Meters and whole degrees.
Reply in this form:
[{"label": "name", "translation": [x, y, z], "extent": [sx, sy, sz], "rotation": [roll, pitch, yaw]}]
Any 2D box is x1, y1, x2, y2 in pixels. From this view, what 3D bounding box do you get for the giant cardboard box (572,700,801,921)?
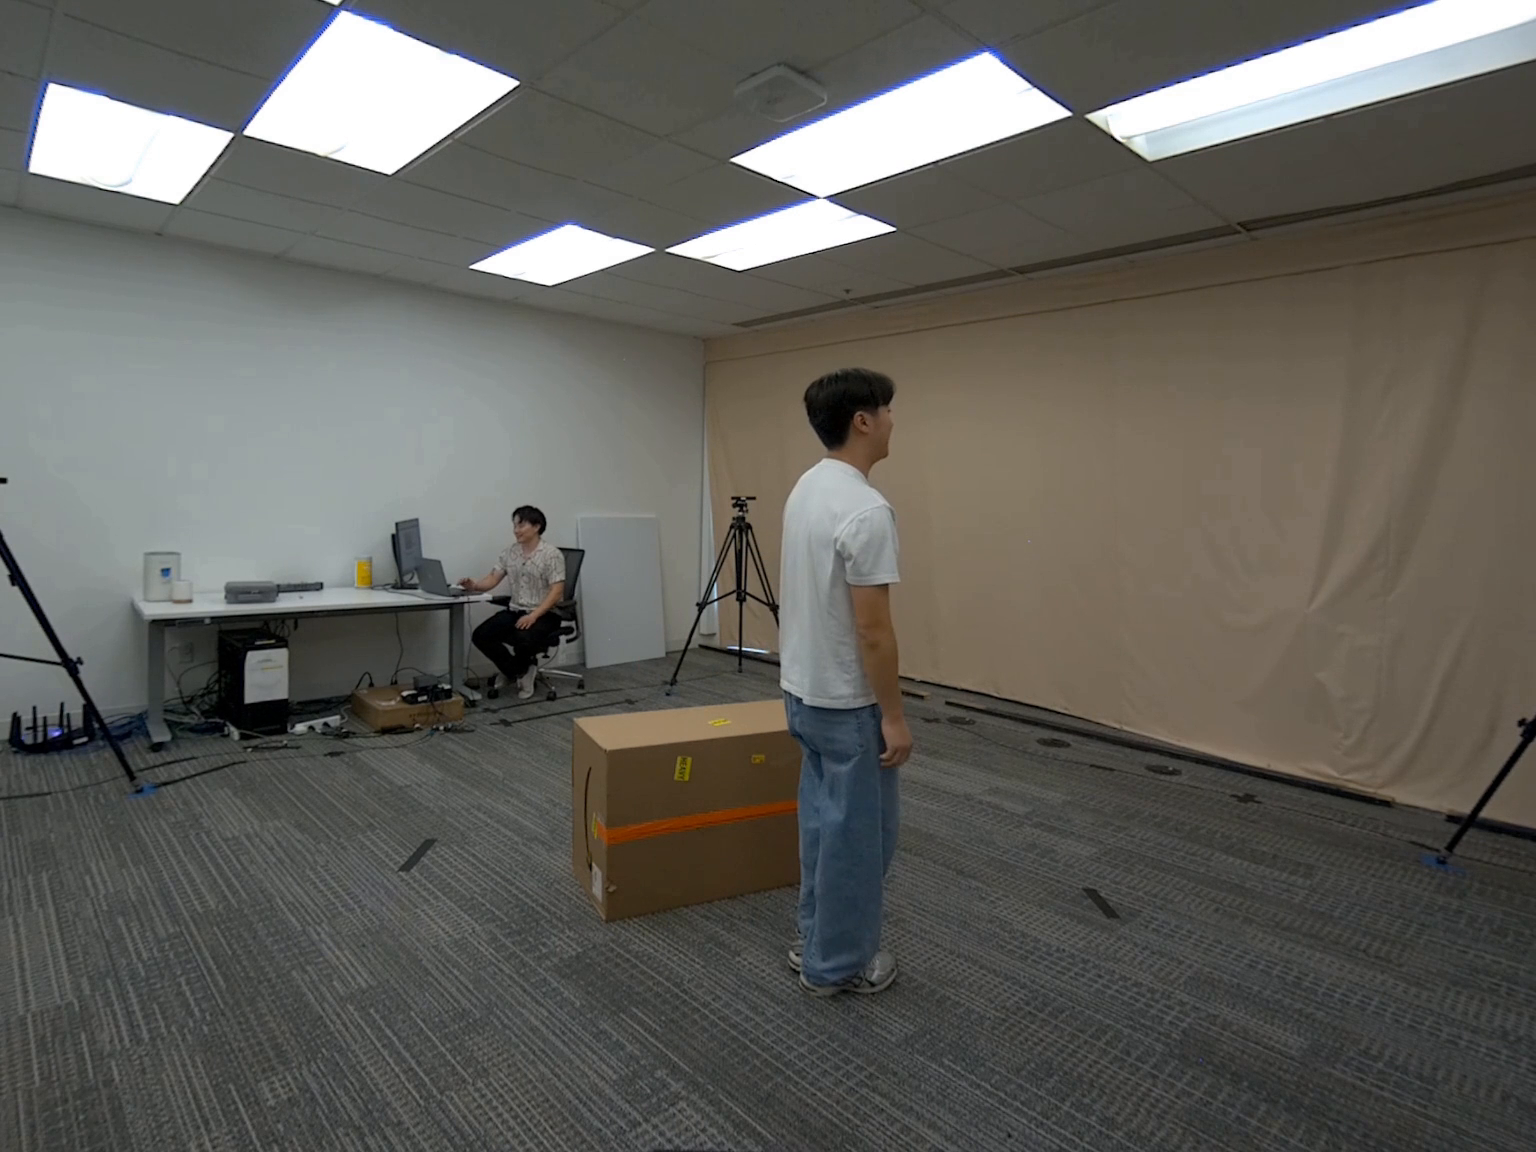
[{"label": "giant cardboard box", "translation": [-0.175, 0.816, 3.122], "extent": [1.007, 0.576, 0.435], "rotation": [-1, 4, -26]}]
